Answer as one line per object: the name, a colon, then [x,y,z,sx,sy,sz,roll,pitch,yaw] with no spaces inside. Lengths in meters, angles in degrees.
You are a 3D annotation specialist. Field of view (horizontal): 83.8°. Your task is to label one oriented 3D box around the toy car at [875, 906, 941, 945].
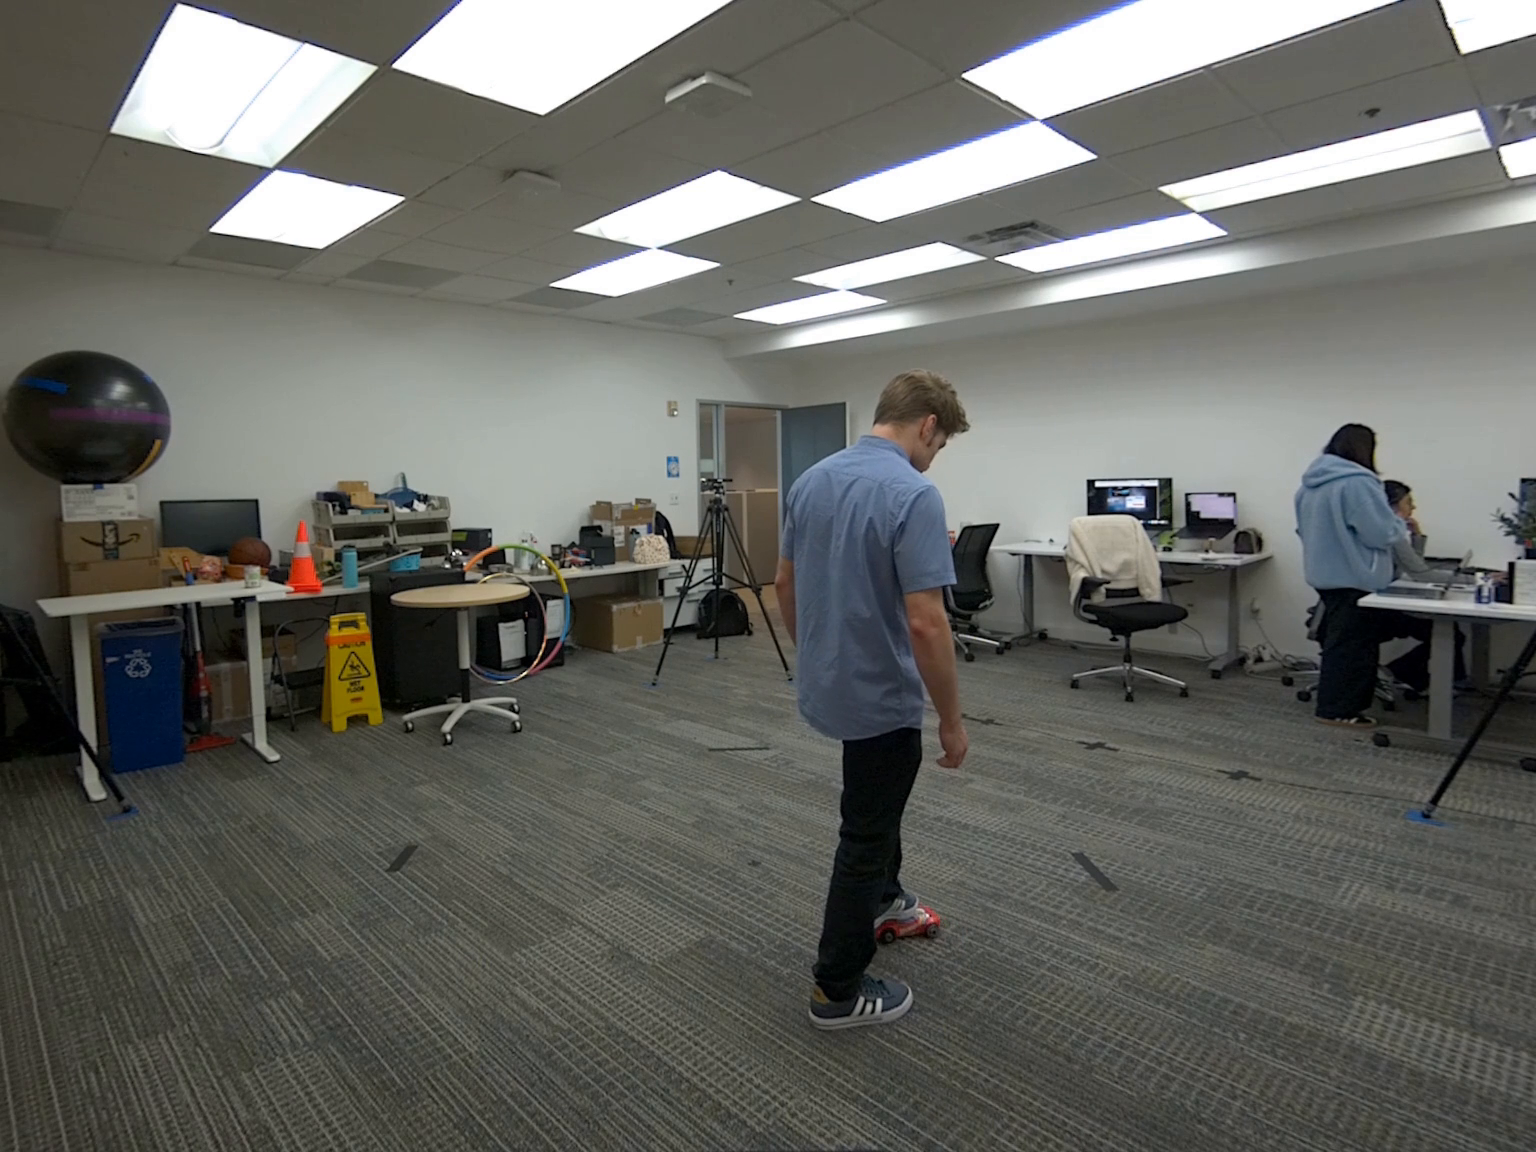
toy car: [0.401,1.066,2.609,0.252,0.083,0.132,8,4,-11]
